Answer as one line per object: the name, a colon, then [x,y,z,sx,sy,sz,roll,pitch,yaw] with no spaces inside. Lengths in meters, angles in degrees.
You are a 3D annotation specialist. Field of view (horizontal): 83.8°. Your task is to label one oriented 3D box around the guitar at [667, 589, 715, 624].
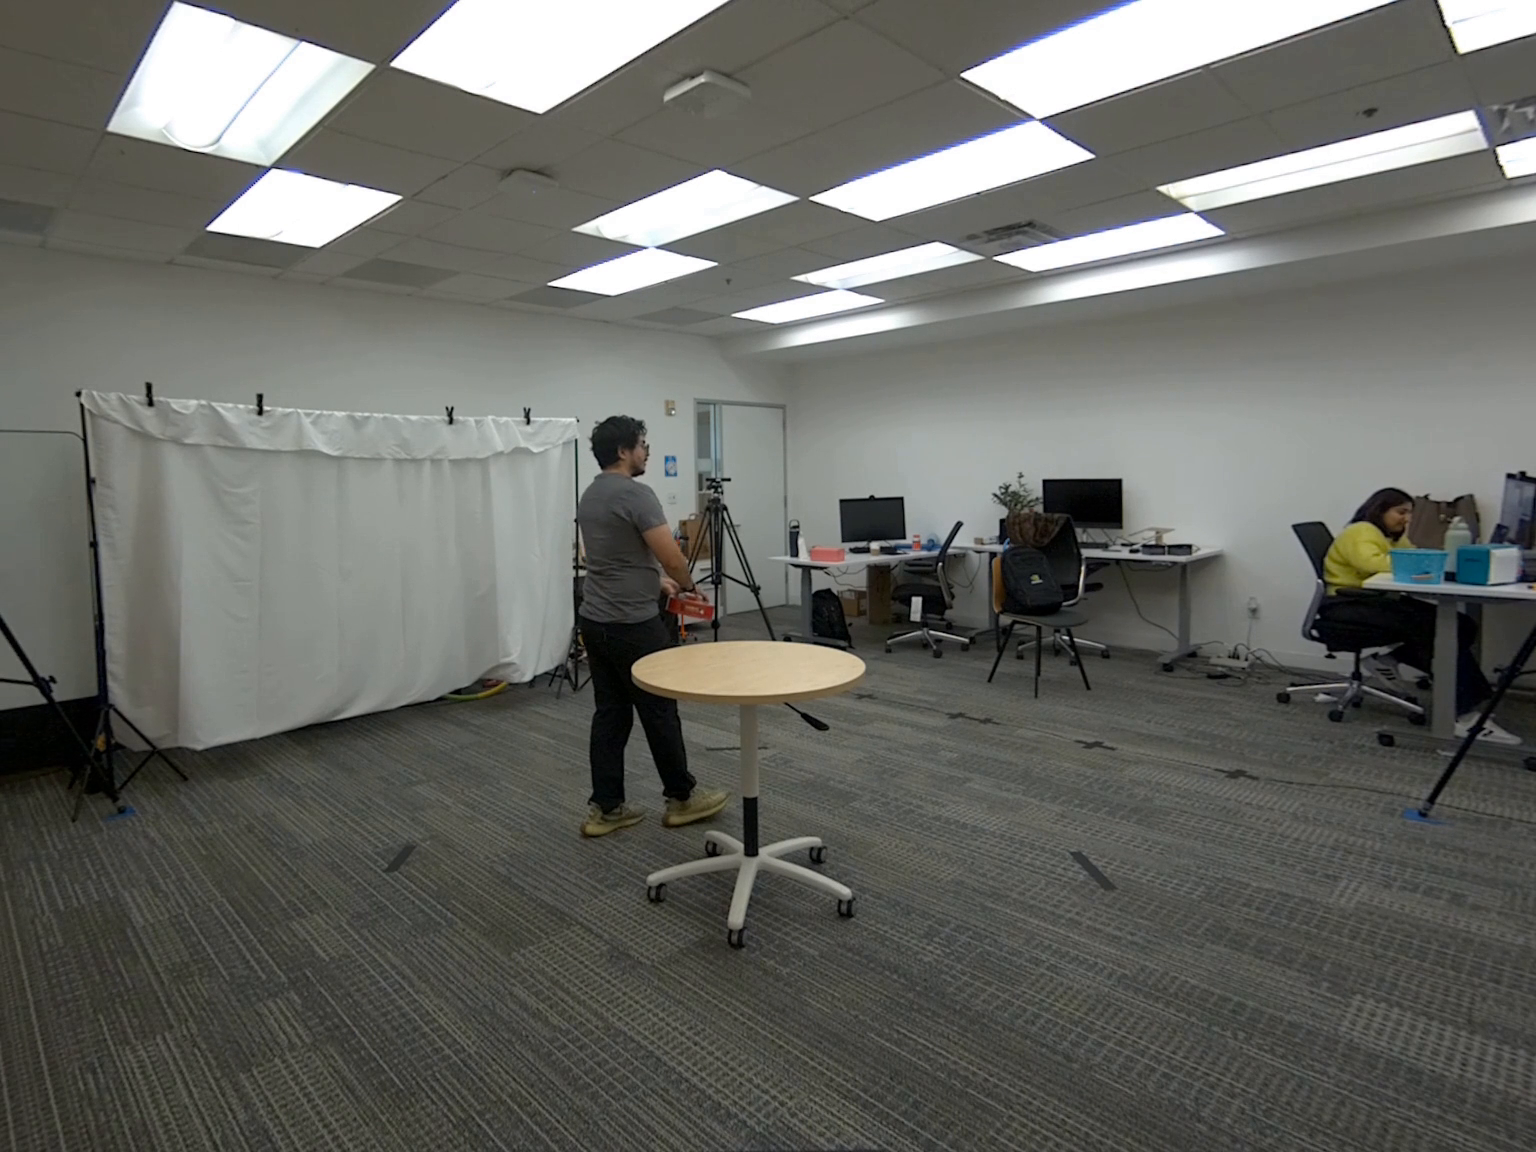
guitar: [-0.308,0.109,3.682,0.194,0.070,0.496,14,4,3]
